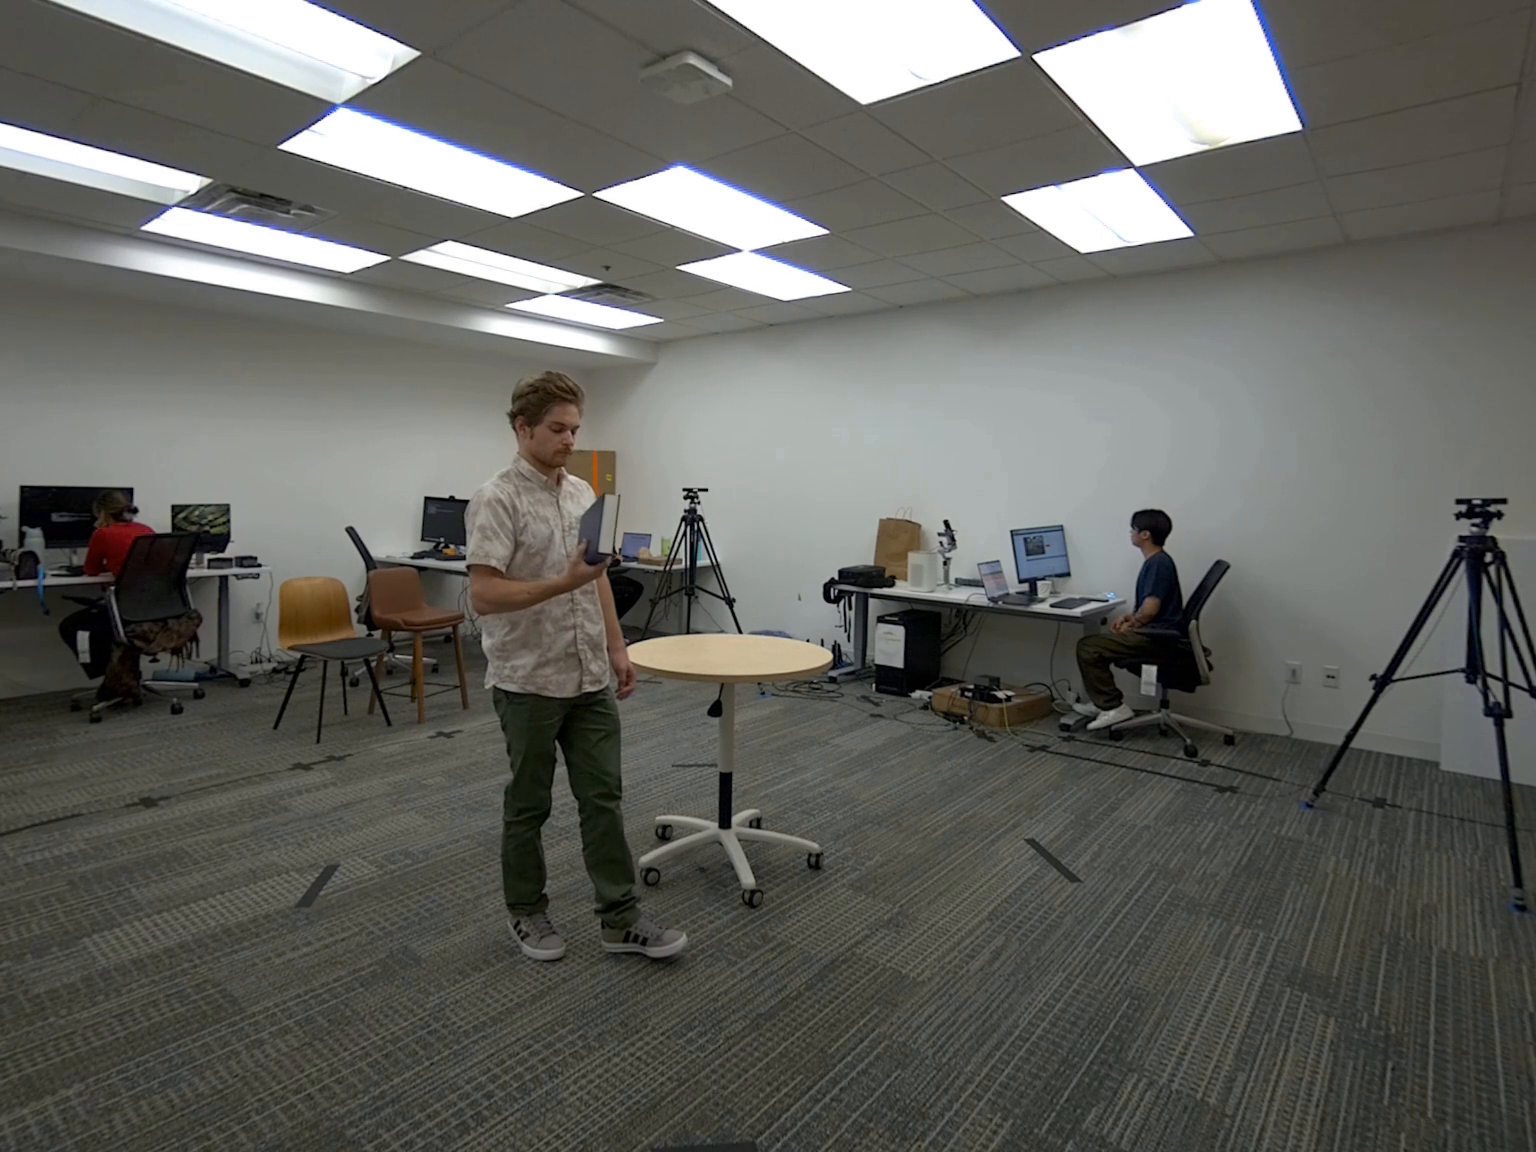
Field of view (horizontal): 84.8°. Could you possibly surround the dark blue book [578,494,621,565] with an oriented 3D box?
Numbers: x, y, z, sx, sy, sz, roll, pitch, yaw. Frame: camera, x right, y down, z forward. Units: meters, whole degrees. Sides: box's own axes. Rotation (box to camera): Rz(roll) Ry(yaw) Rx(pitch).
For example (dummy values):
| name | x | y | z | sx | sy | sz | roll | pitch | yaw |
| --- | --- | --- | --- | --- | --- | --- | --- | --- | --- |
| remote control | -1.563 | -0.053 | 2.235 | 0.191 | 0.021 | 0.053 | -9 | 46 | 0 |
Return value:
| name | x | y | z | sx | sy | sz | roll | pitch | yaw |
| --- | --- | --- | --- | --- | --- | --- | --- | --- | --- |
| dark blue book | -0.456 | -0.113 | 2.255 | 0.044 | 0.166 | 0.245 | 9 | -16 | -15 |
